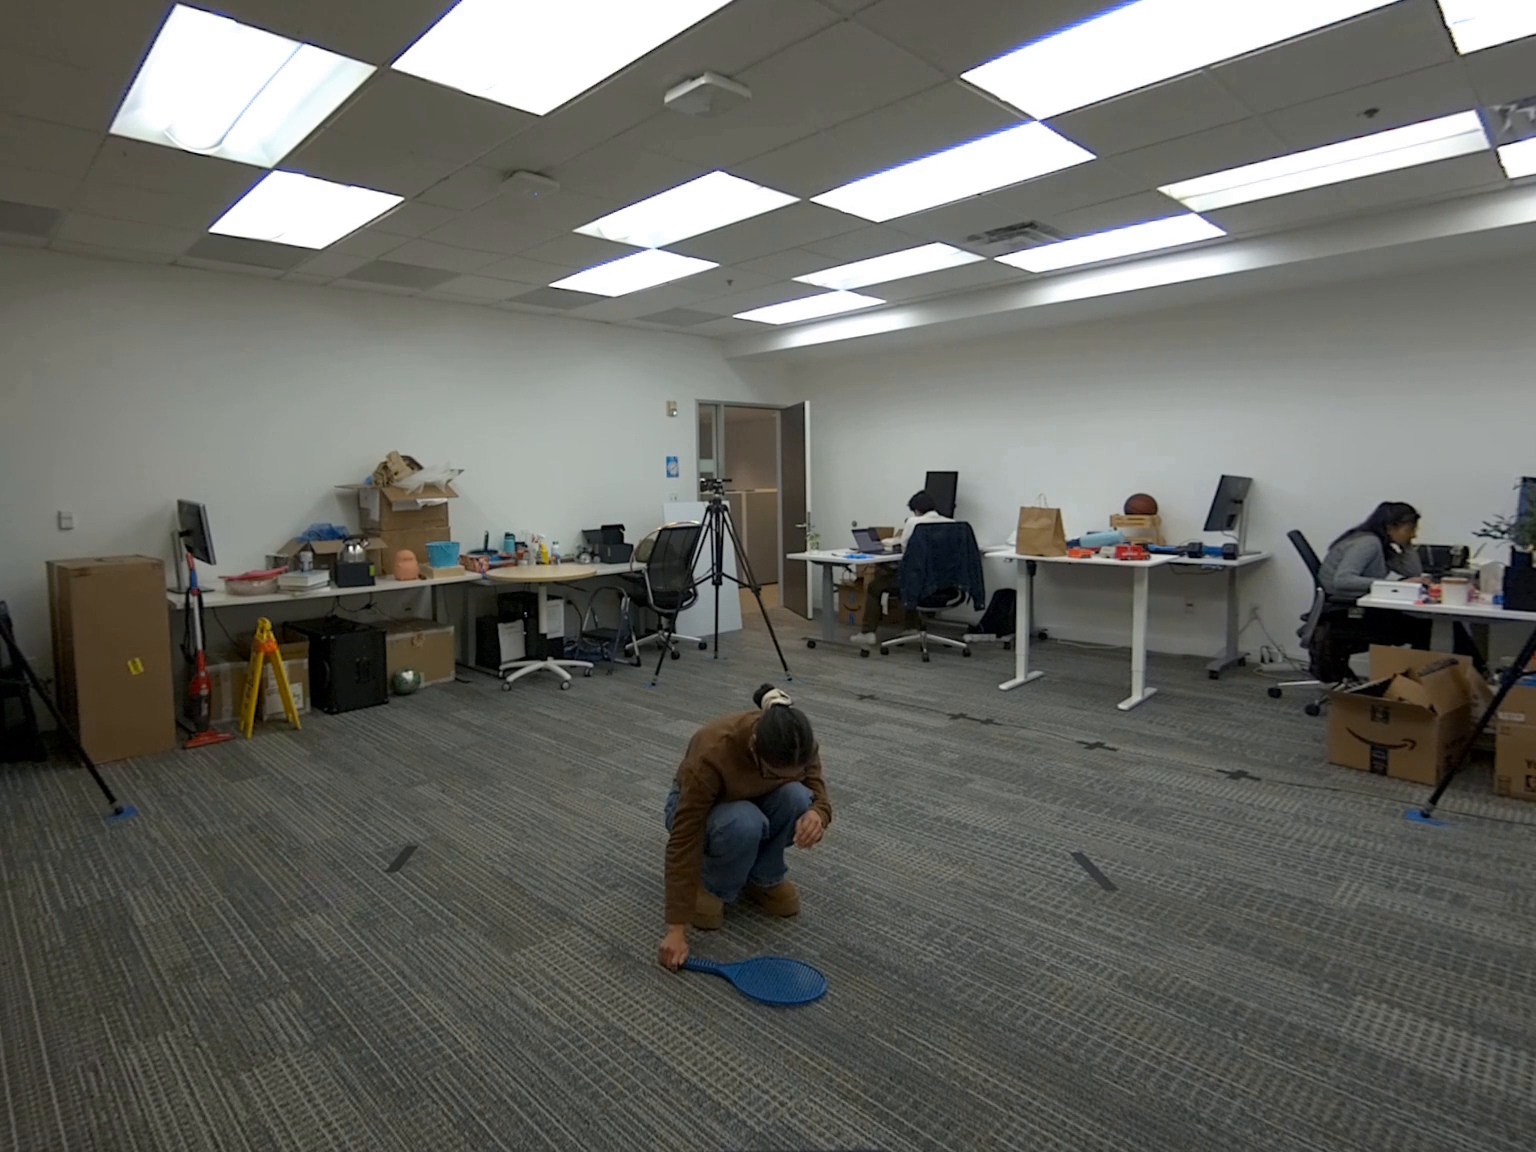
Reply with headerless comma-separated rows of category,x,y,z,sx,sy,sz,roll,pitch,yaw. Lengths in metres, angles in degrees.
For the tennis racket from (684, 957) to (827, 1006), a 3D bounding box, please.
tennis racket,-0.051,1.117,2.389,0.440,0.031,0.211,1,7,17
